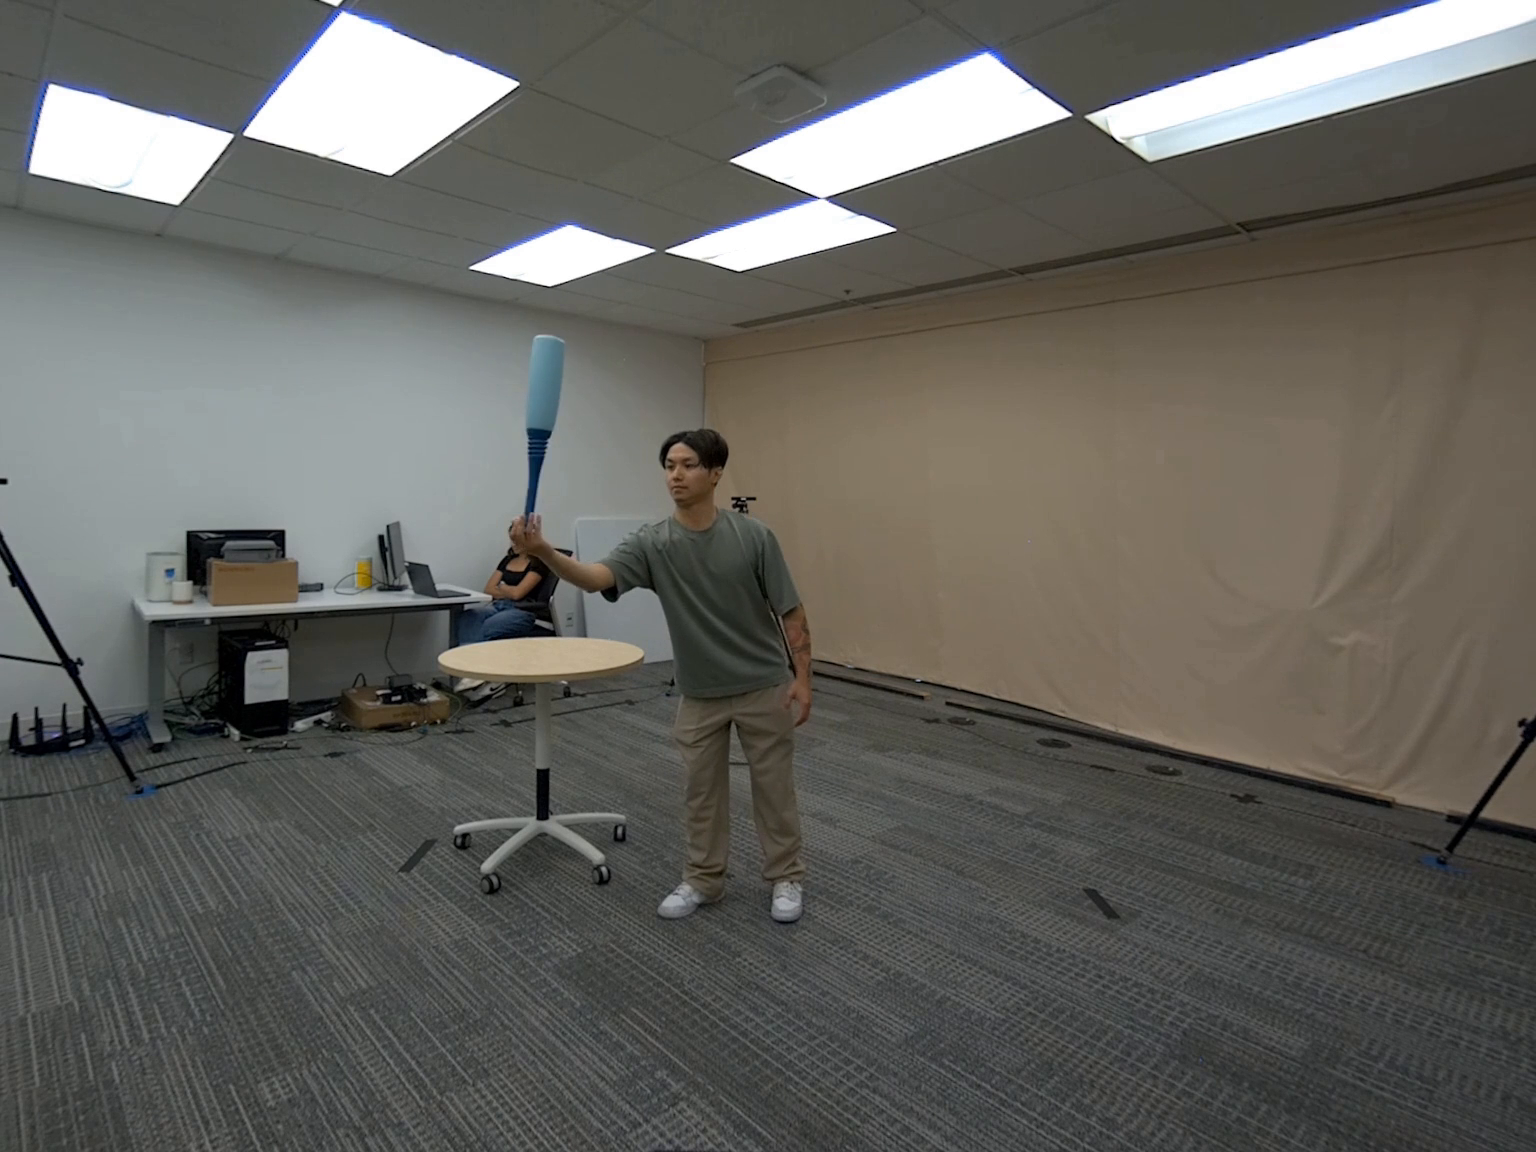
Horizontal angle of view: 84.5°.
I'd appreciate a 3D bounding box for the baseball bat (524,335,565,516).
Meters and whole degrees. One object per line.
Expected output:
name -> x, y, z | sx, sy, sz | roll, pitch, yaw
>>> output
baseball bat -> -0.615, -0.367, 2.239 | 0.089, 0.543, 0.089 | 5, 0, -1
